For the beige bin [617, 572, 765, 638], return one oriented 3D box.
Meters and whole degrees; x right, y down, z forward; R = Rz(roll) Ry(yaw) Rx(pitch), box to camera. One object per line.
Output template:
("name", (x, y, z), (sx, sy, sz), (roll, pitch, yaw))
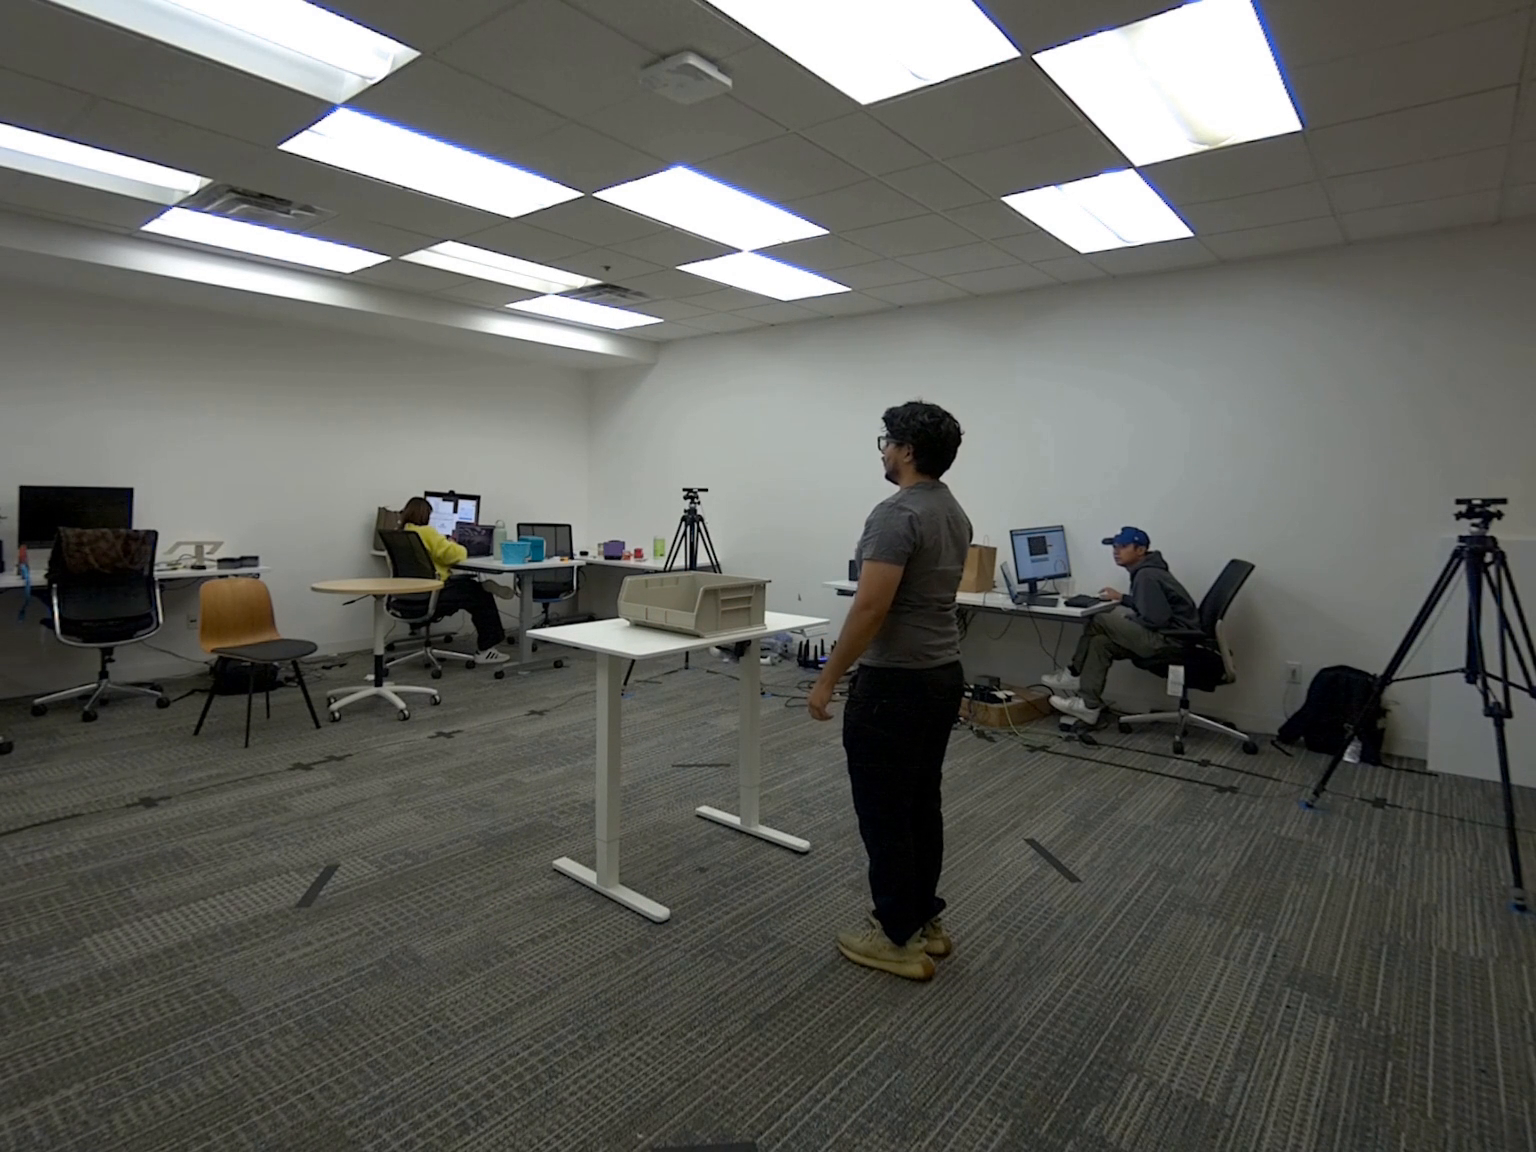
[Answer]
("beige bin", (-0.275, 0.097, 3.100), (0.437, 0.188, 0.366), (5, 6, 44))
